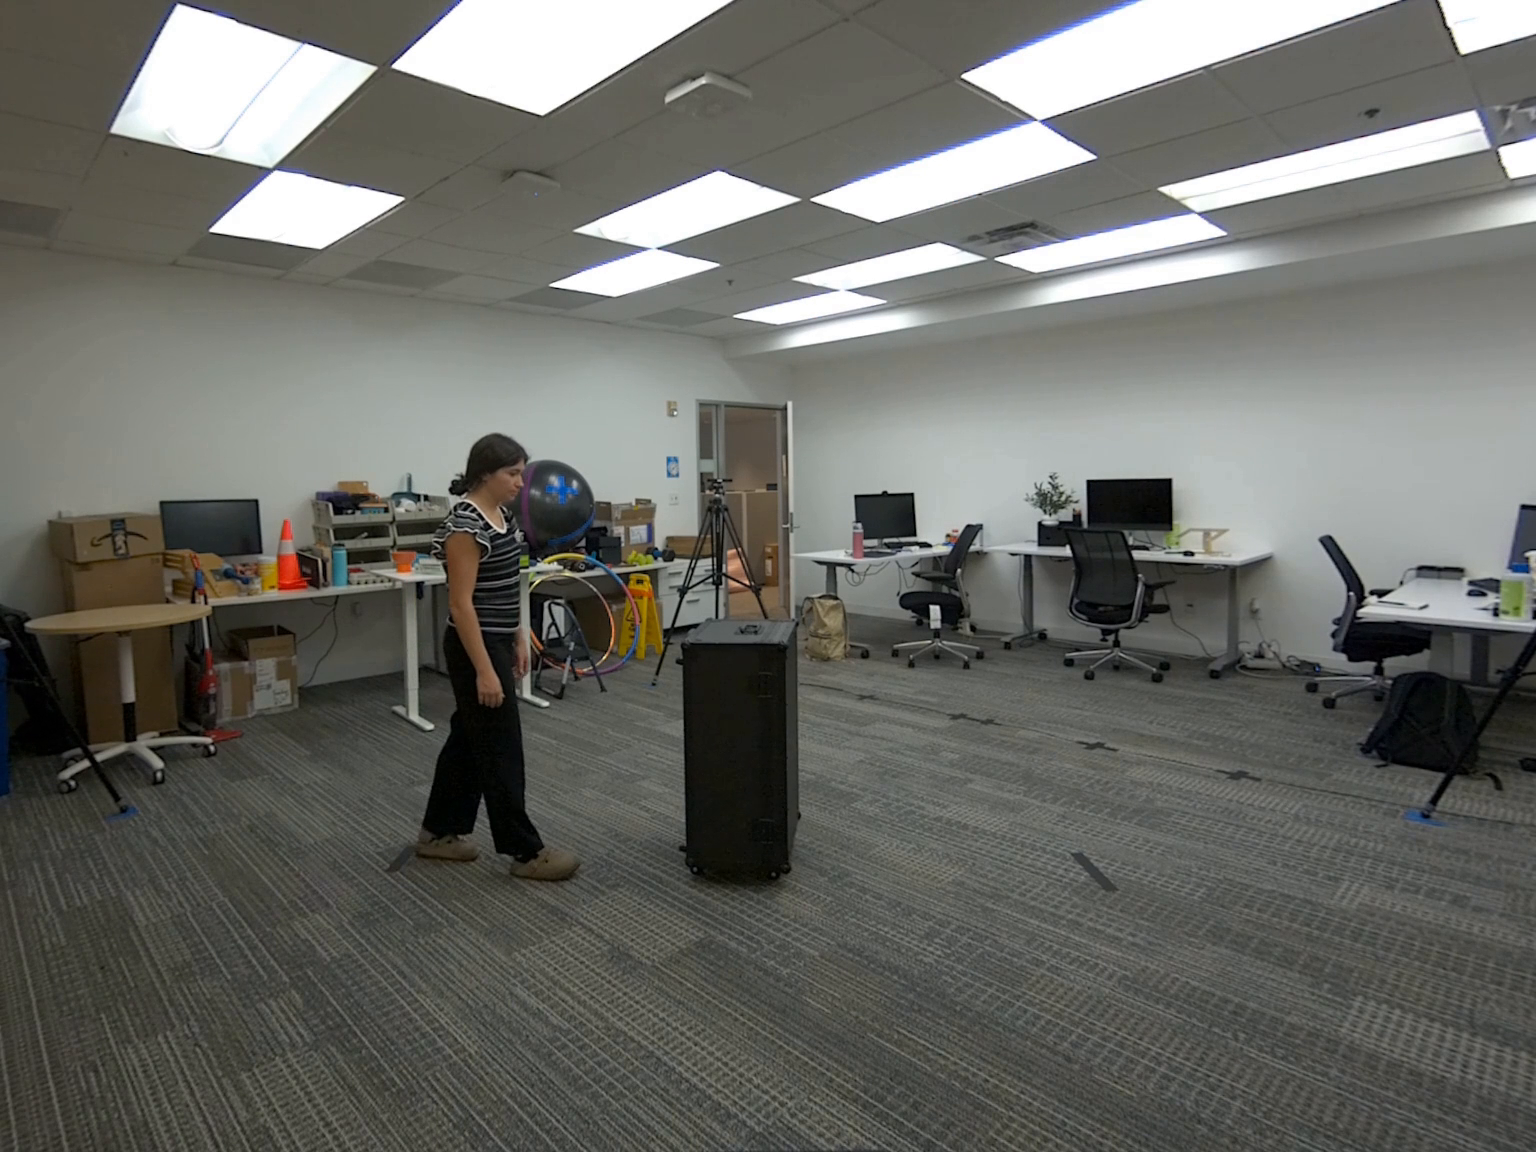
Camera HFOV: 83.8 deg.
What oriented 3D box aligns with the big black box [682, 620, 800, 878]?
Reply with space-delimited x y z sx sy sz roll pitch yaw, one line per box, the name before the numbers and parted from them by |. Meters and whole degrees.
big black box | -0.097 0.615 3.106 0.400 0.858 0.519 0 5 8
